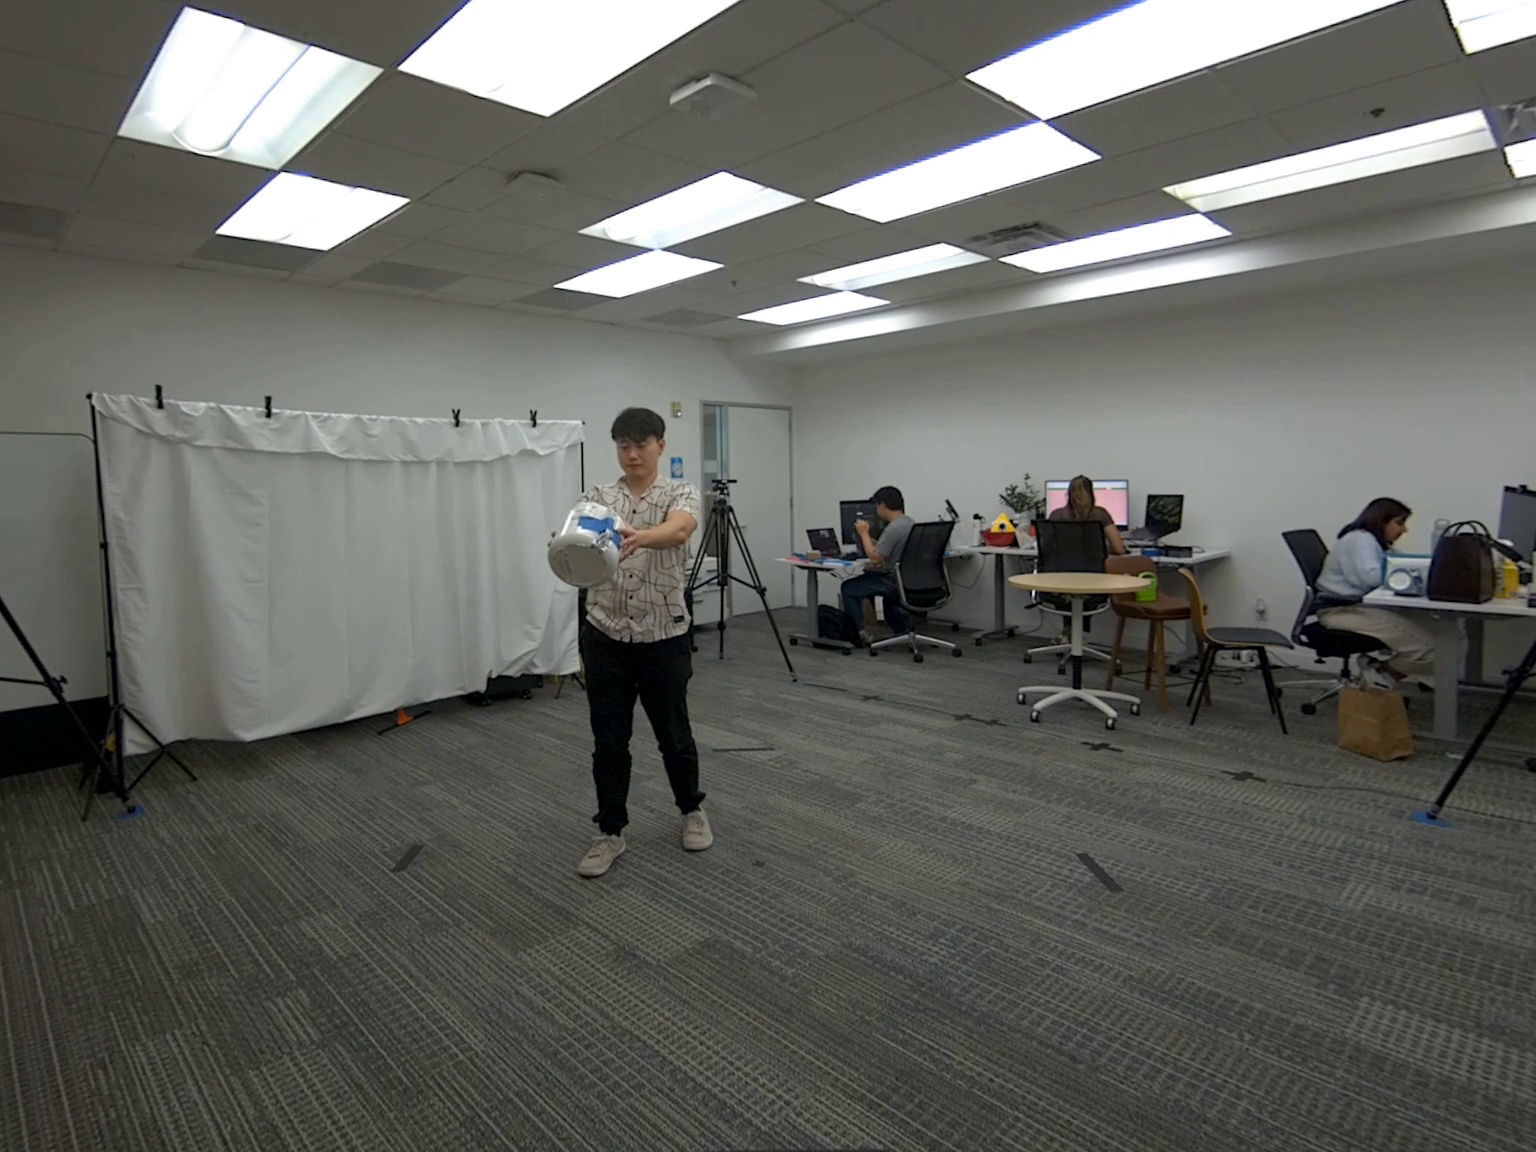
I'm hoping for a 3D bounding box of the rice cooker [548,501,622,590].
[{"bbox_3d":[-0.555,-0.101,2.637,0.219,0.214,0.237,-1,36,8],"label":"rice cooker"}]
